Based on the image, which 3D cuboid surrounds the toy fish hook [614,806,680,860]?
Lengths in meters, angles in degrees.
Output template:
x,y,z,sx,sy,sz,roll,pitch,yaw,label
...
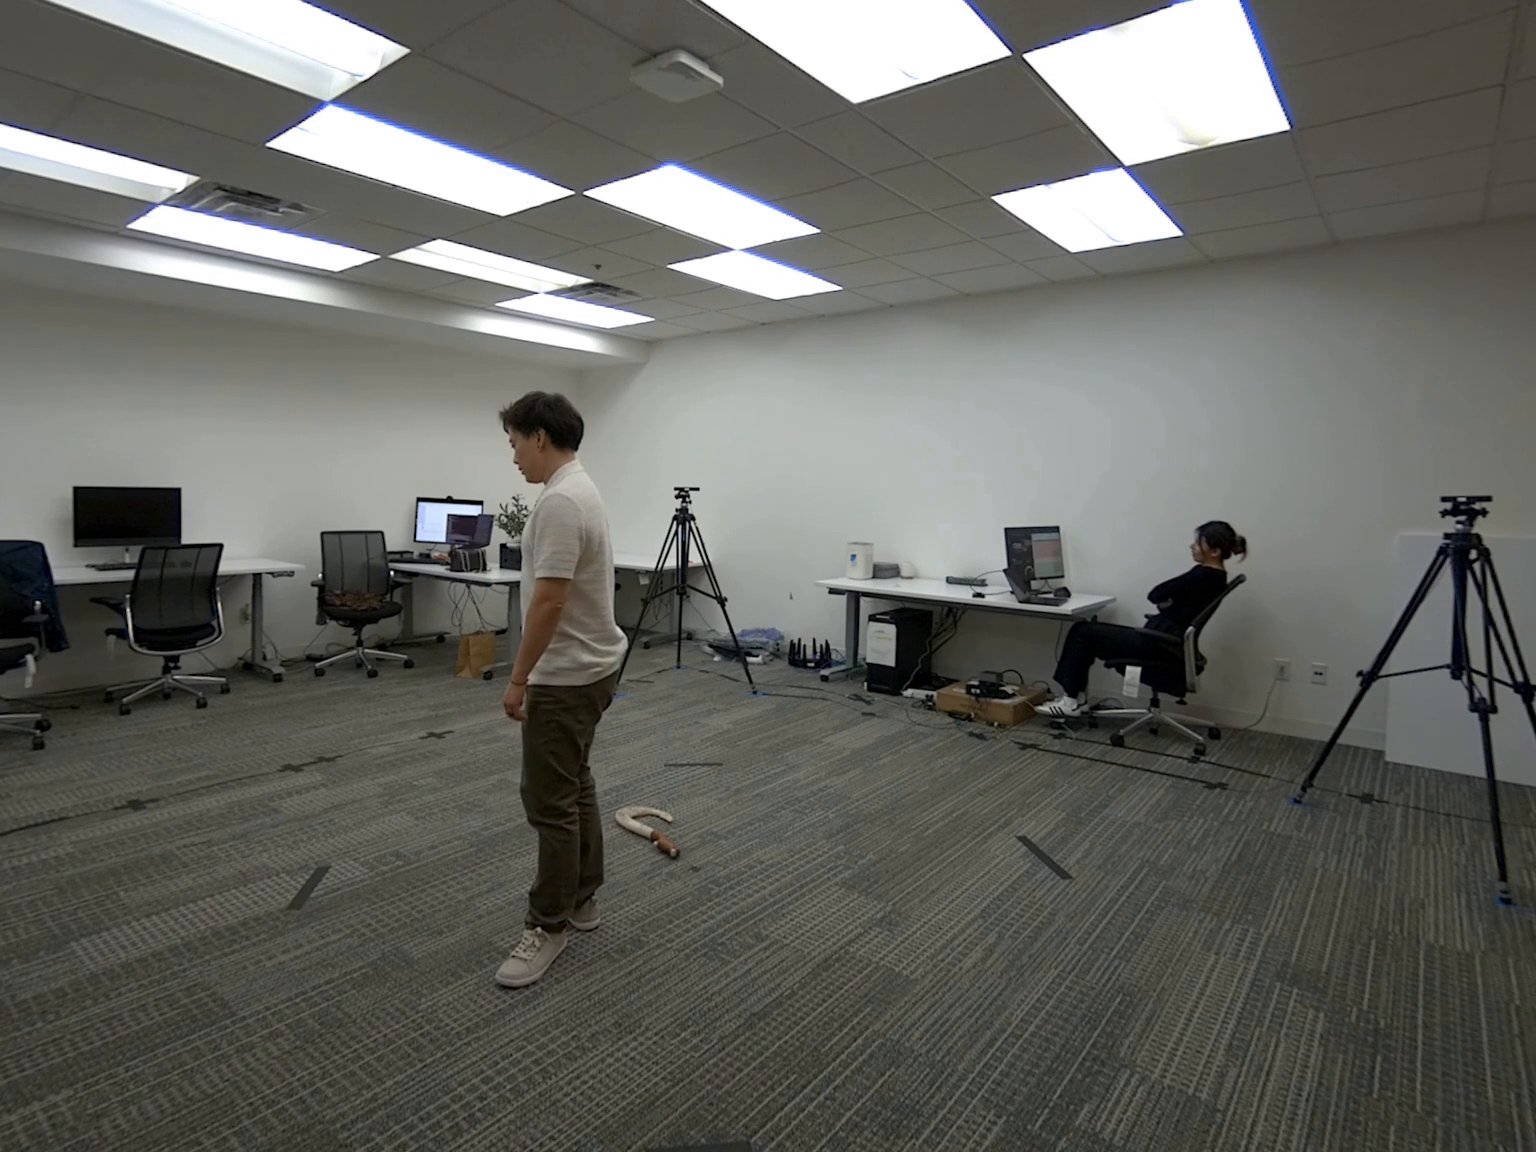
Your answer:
x,y,z,sx,sy,sz,roll,pitch,yaw,label
-0.449,1.010,3.413,0.218,0.048,0.523,-4,8,-33,toy fish hook
